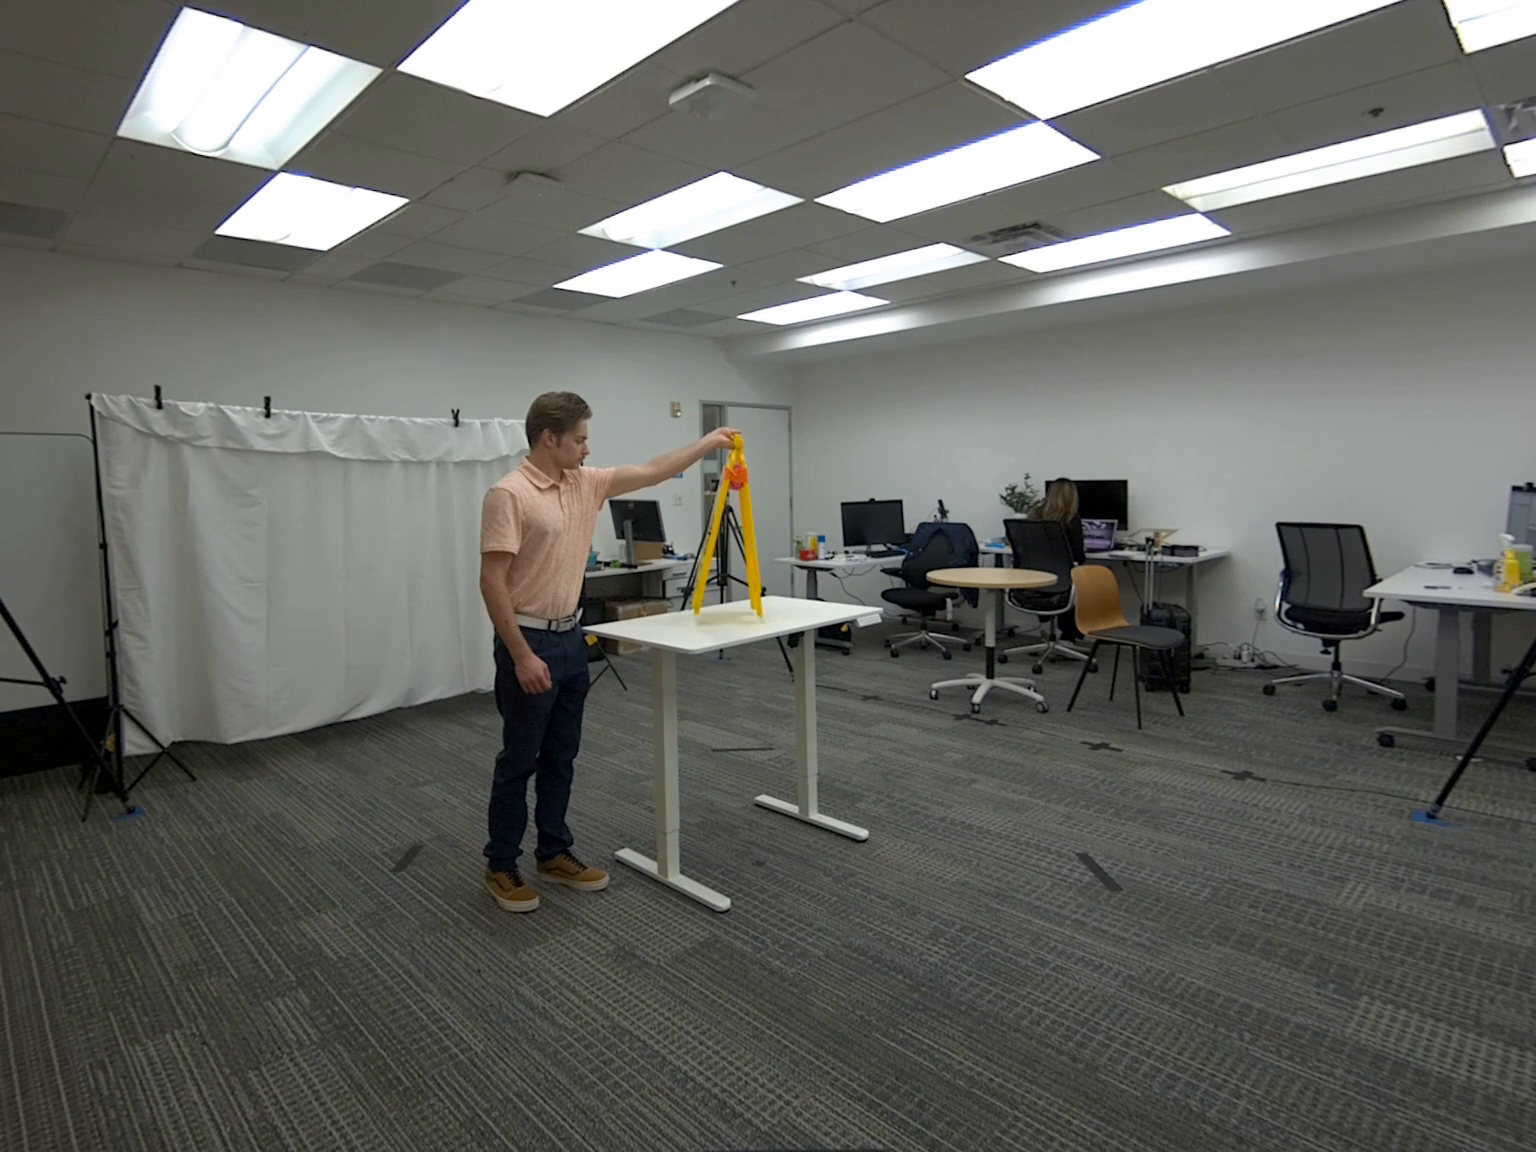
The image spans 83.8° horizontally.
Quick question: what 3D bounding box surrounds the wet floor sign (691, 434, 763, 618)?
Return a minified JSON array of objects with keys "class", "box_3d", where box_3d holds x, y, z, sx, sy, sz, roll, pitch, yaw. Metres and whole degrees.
[{"class":"wet floor sign","box_3d":[-0.131,-0.189,3.158,0.288,0.644,0.285,3,4,-6]}]
